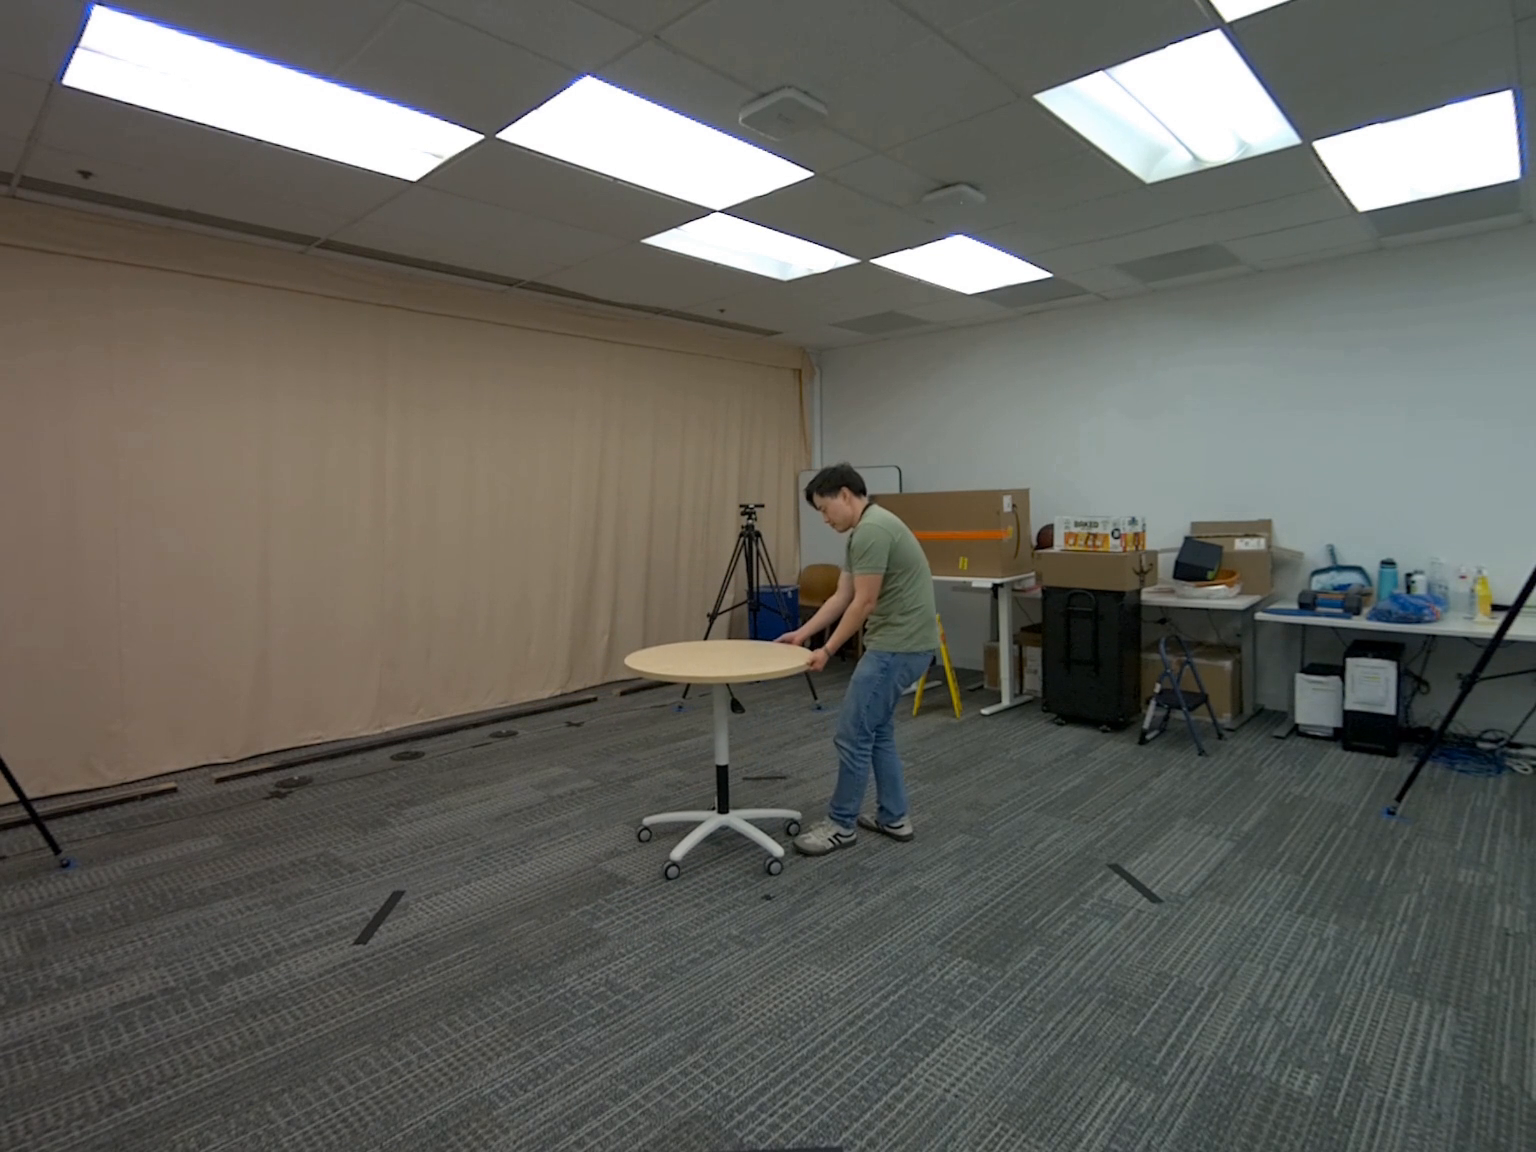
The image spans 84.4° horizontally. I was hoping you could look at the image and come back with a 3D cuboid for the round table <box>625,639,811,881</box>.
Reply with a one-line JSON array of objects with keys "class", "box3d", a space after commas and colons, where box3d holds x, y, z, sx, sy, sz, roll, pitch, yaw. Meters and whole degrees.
[{"class": "round table", "box3d": [-0.192, 0.719, 3.423, 0.763, 0.792, 0.767, -1, 4, -2]}]
